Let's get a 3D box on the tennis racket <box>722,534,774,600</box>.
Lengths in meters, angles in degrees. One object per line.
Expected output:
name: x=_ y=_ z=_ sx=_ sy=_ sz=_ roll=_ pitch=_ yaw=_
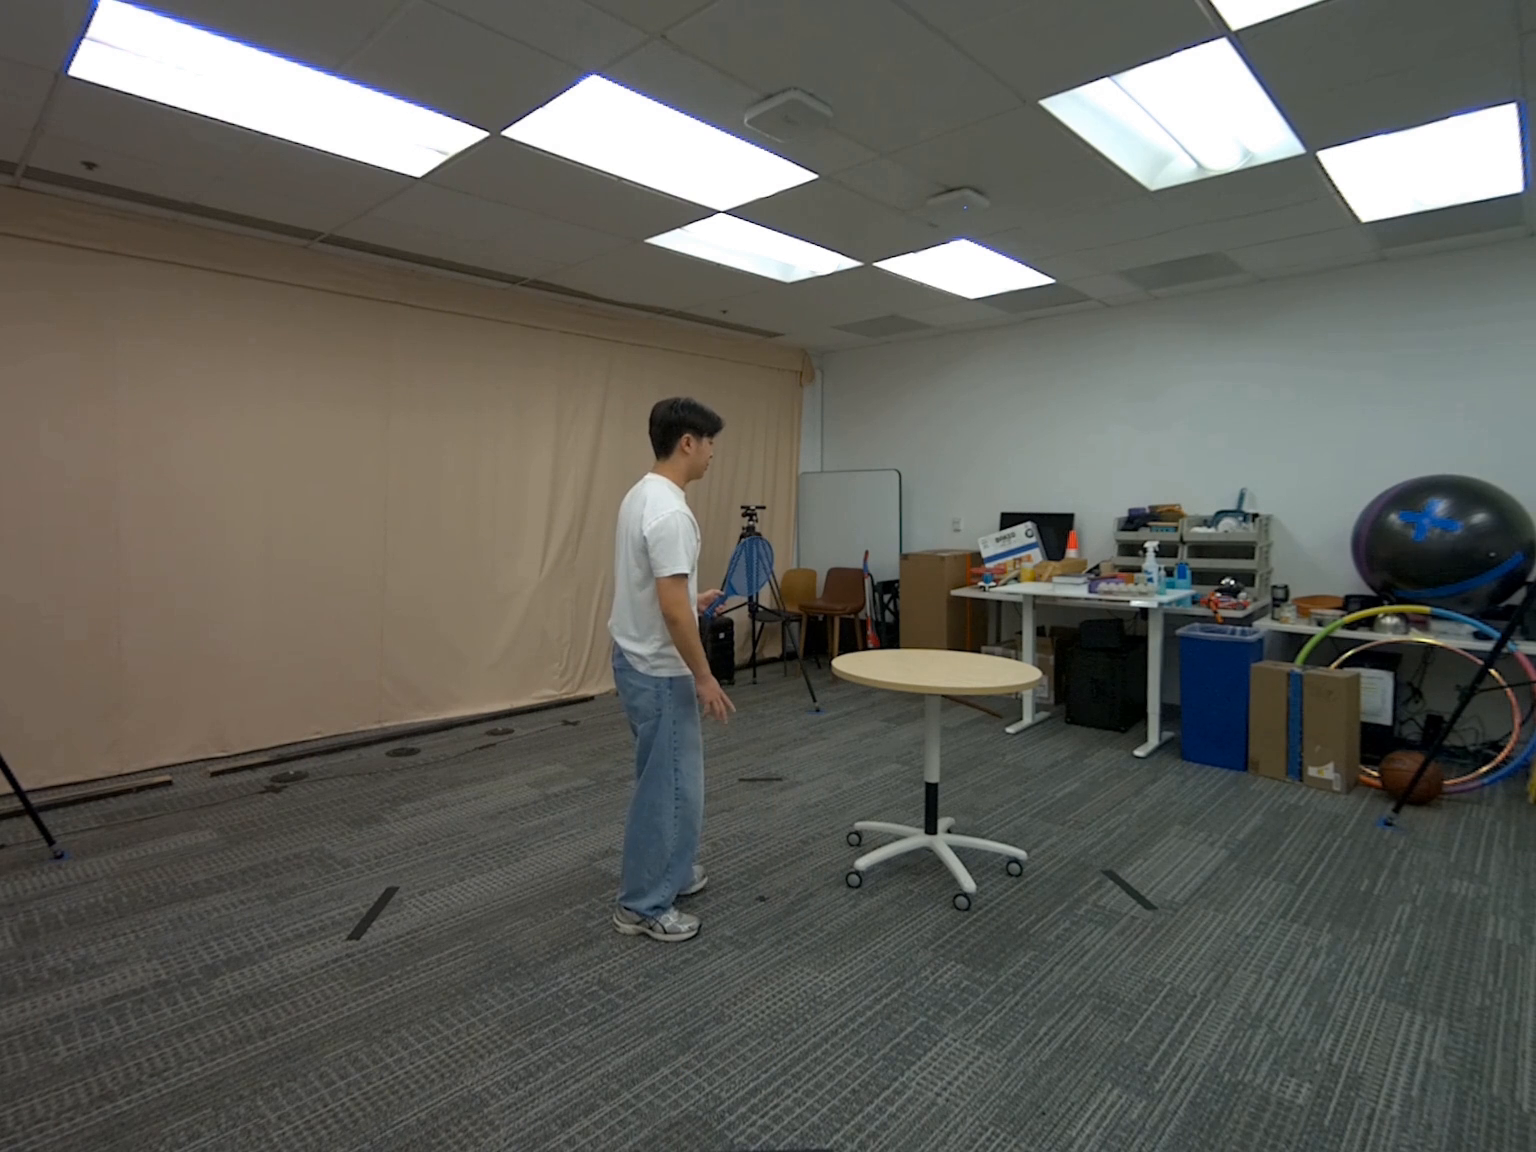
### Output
tennis racket: x=-0.098 y=0.017 z=3.267 sx=0.033 sy=0.209 sz=0.429 roll=-4 pitch=34 yaw=45
